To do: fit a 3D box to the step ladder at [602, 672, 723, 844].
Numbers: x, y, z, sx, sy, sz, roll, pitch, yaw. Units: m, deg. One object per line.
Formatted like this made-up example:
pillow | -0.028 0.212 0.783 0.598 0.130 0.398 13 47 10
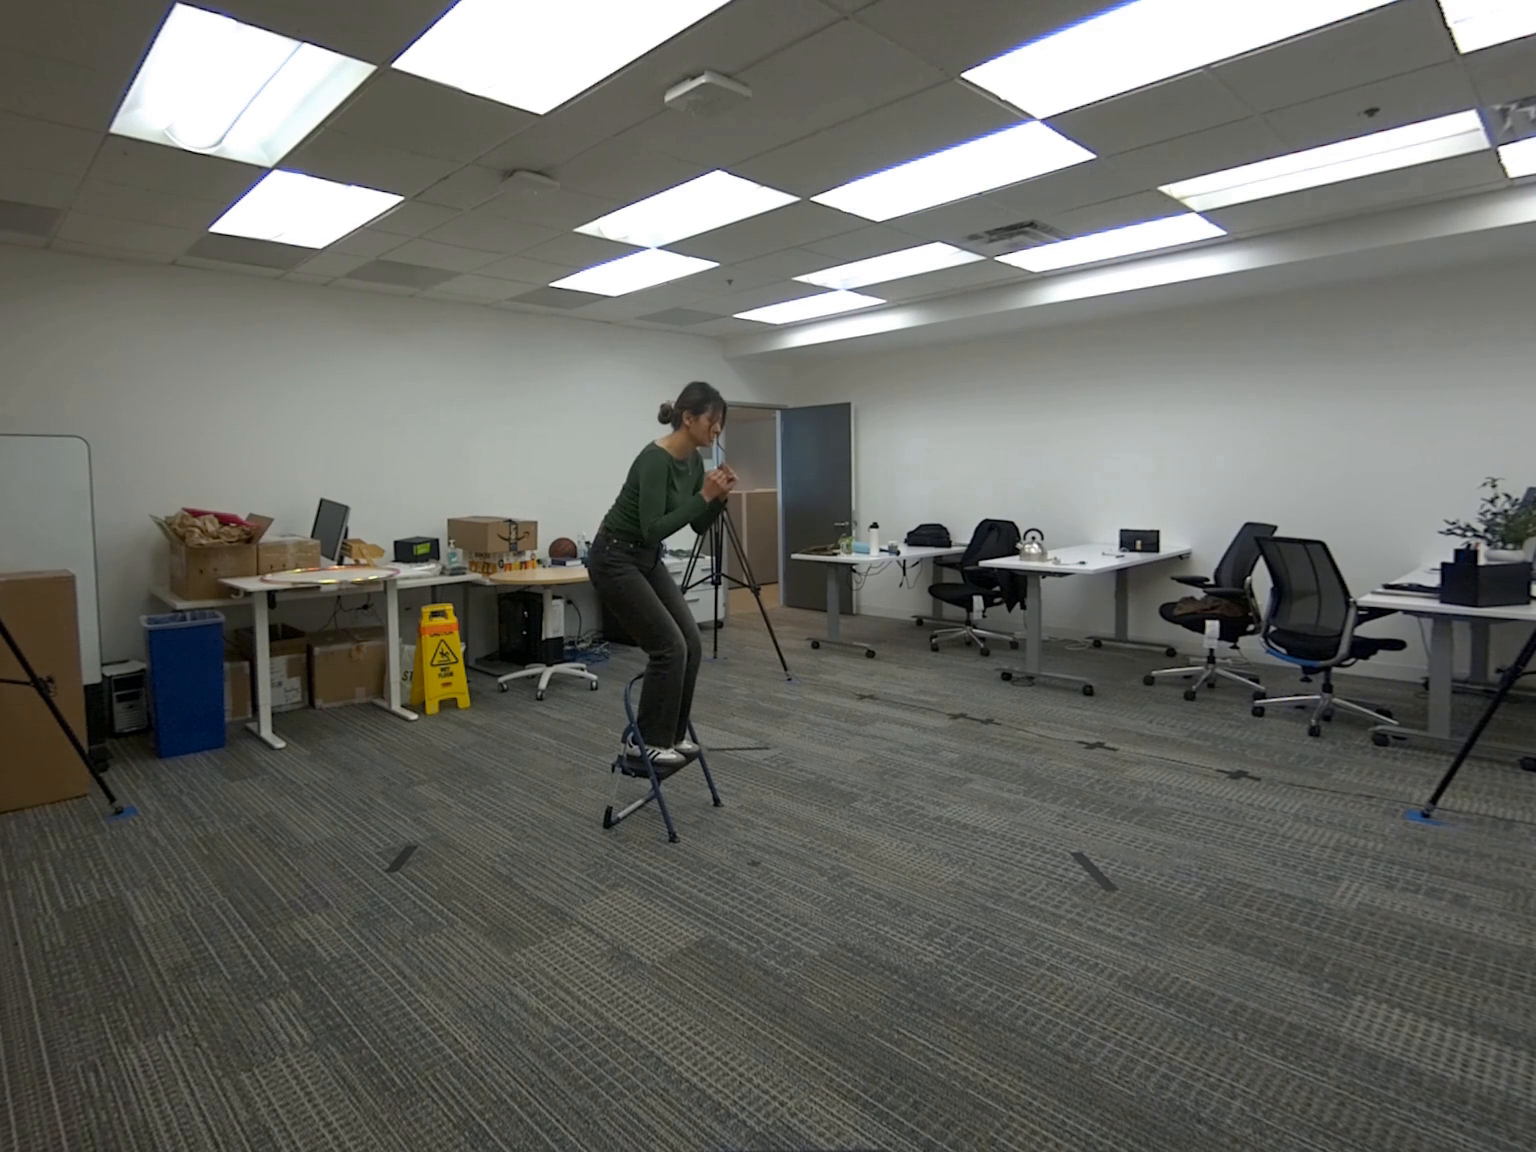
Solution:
step ladder | -0.438 0.704 3.540 0.357 0.604 0.423 1 5 23
